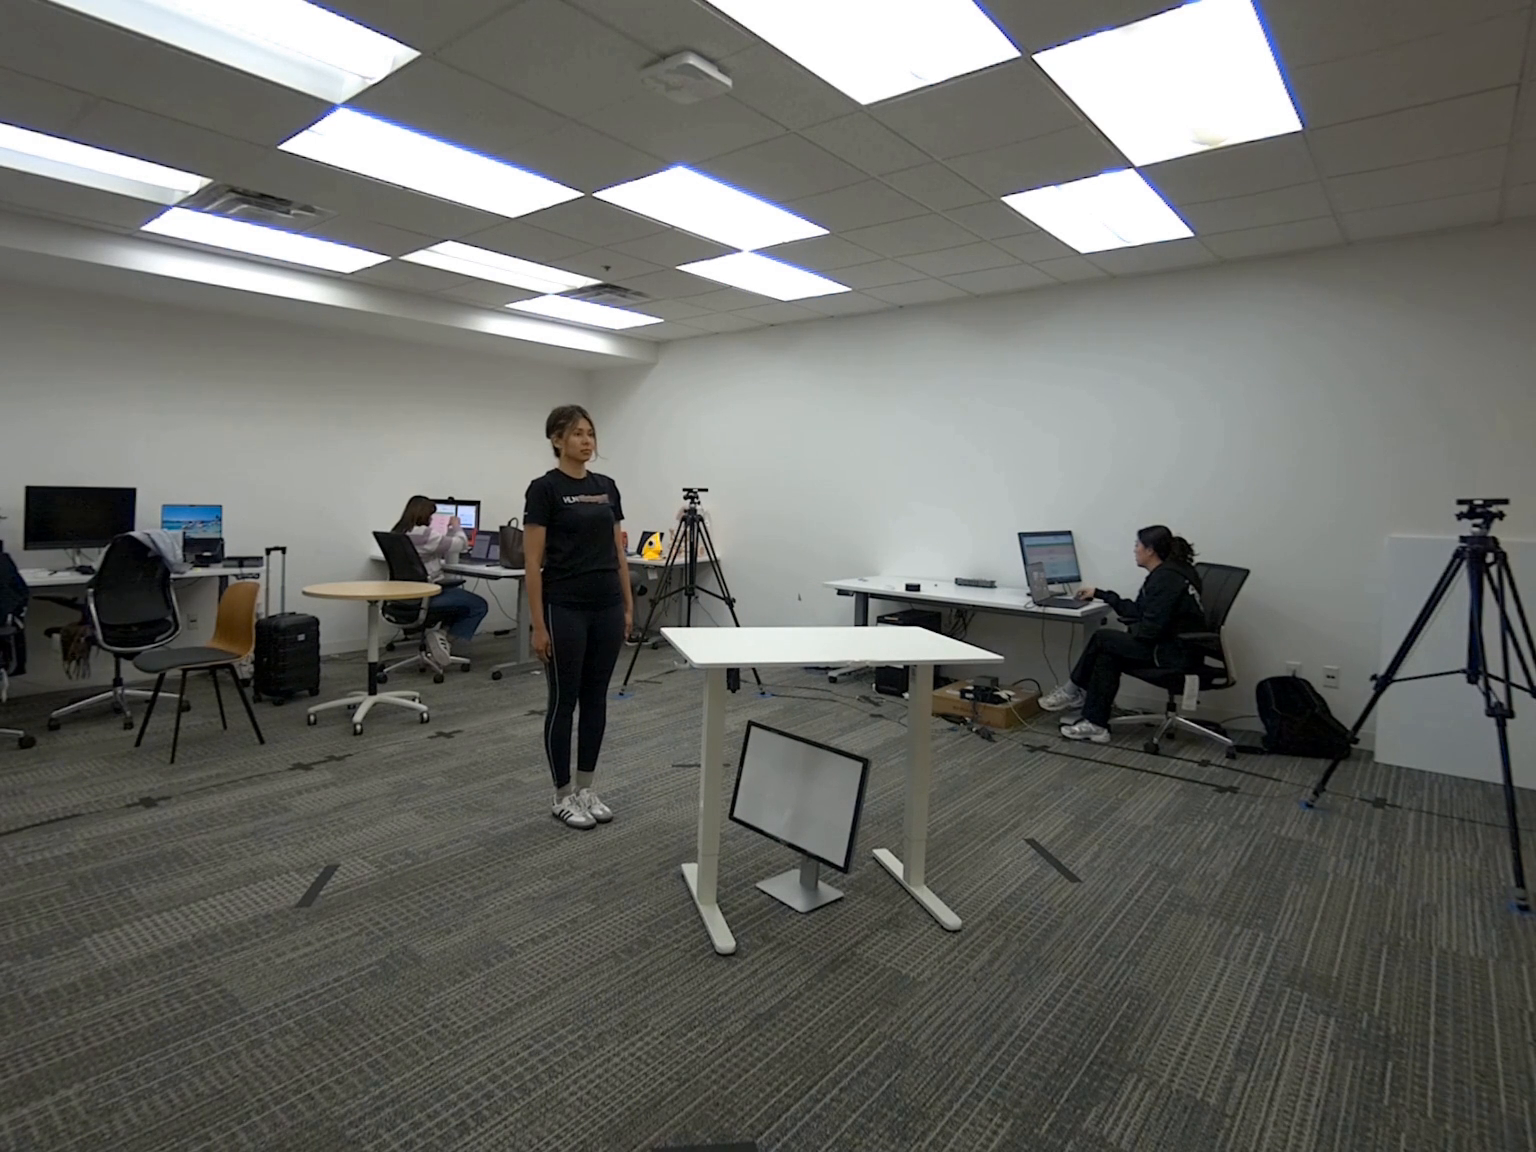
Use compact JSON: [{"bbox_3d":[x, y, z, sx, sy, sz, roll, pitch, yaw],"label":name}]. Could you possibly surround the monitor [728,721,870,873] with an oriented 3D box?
[{"bbox_3d":[0.114,0.827,2.929,0.181,0.521,0.557,-3,5,-44],"label":"monitor"}]
